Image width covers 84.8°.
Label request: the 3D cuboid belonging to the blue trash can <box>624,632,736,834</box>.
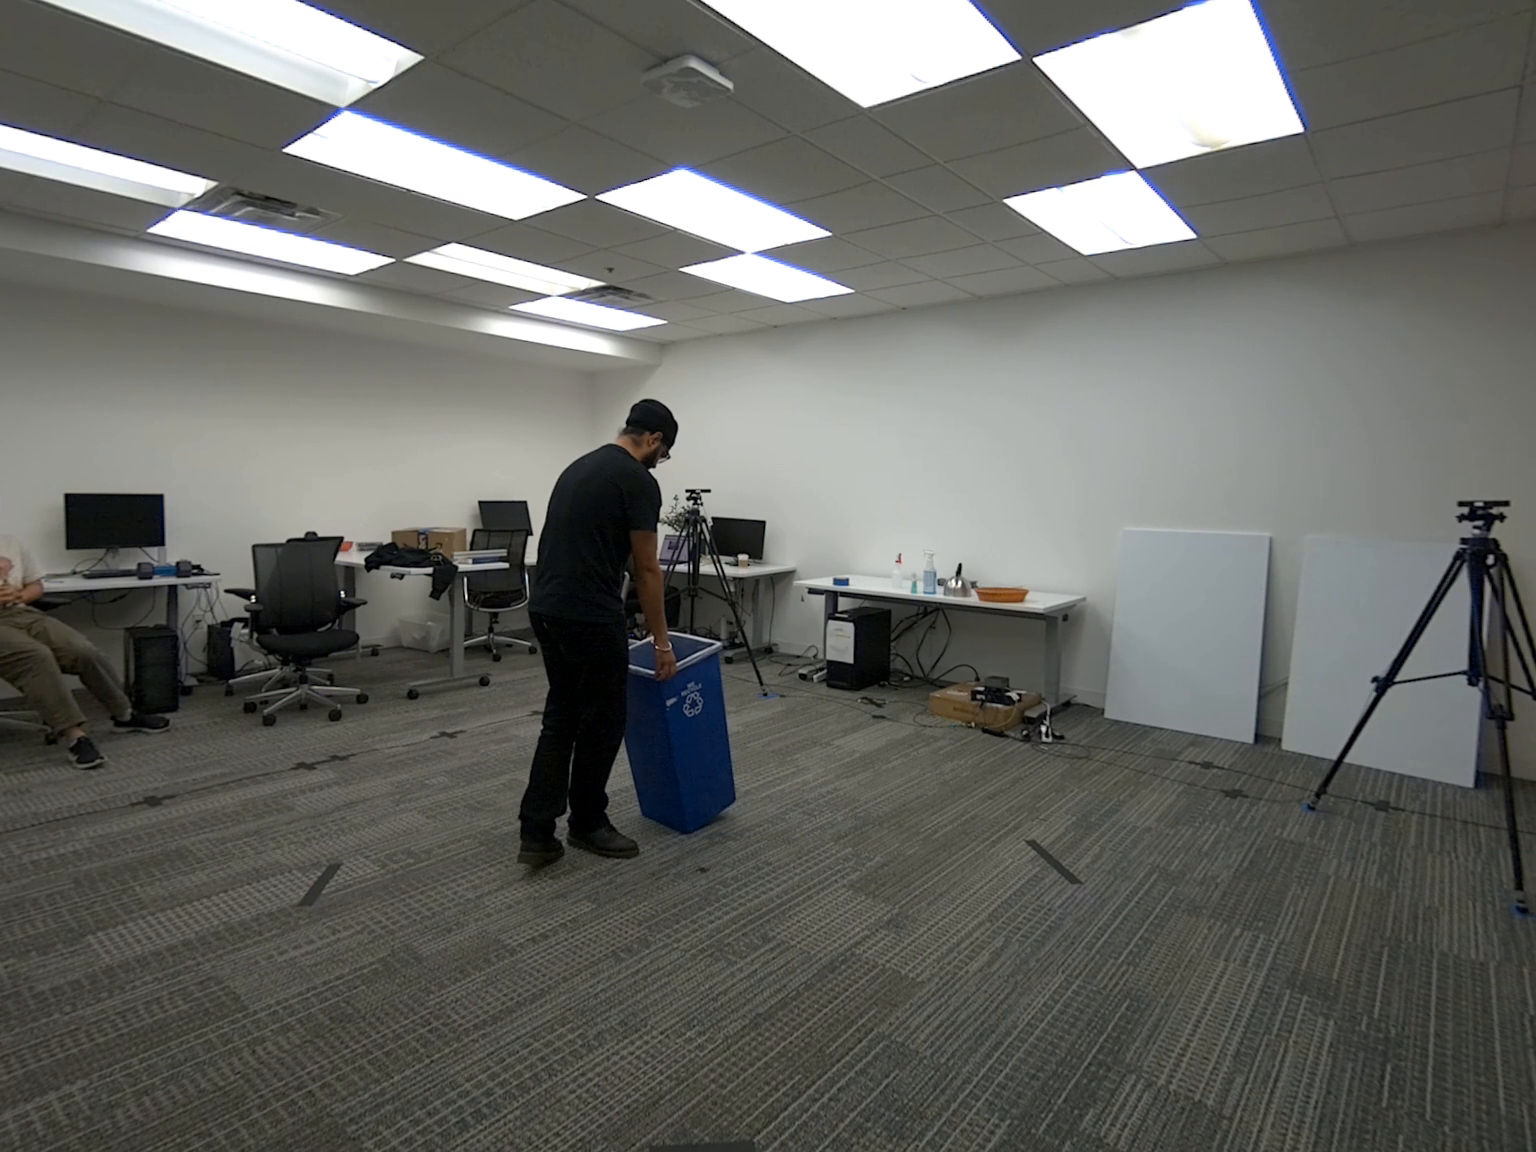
[{"bbox_3d":[-0.398,0.648,3.545,0.391,0.704,0.366,4,17,43],"label":"blue trash can"}]
